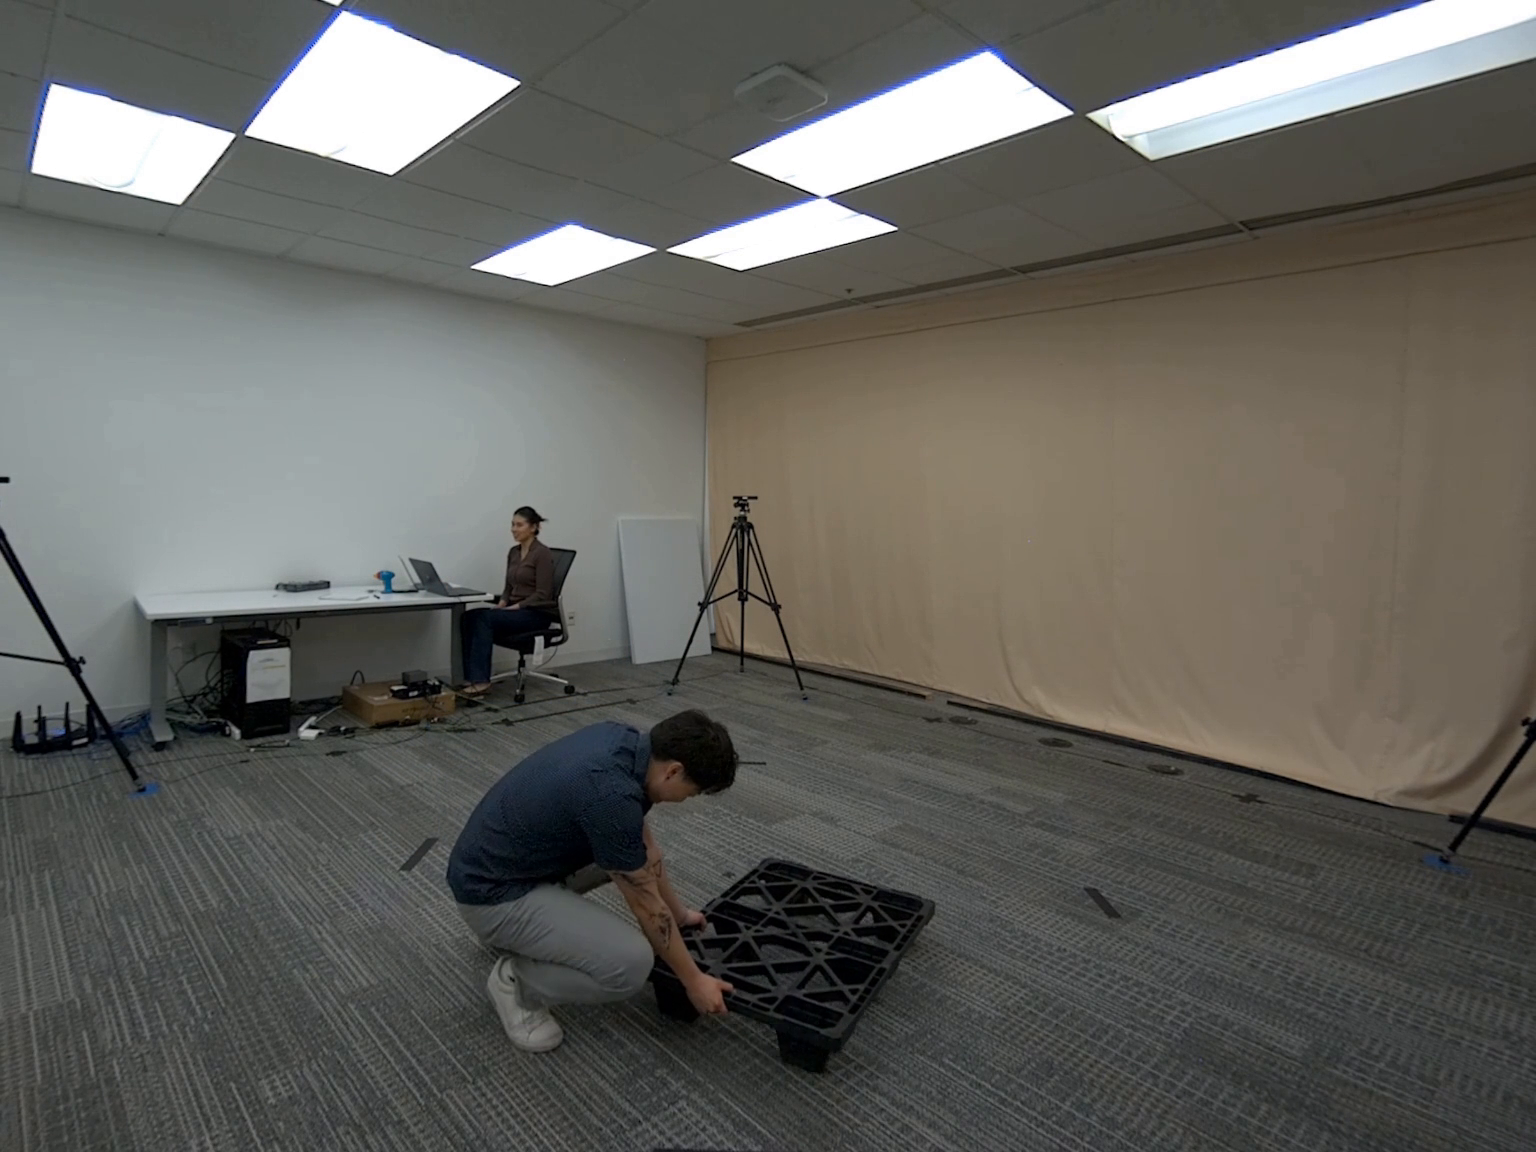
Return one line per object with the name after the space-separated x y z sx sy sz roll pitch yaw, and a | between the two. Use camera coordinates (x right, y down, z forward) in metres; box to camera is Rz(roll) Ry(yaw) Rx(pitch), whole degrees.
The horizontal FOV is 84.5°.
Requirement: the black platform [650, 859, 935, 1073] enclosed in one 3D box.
0.080 1.099 2.468 0.618 0.143 0.791 5 7 28 | black platform
